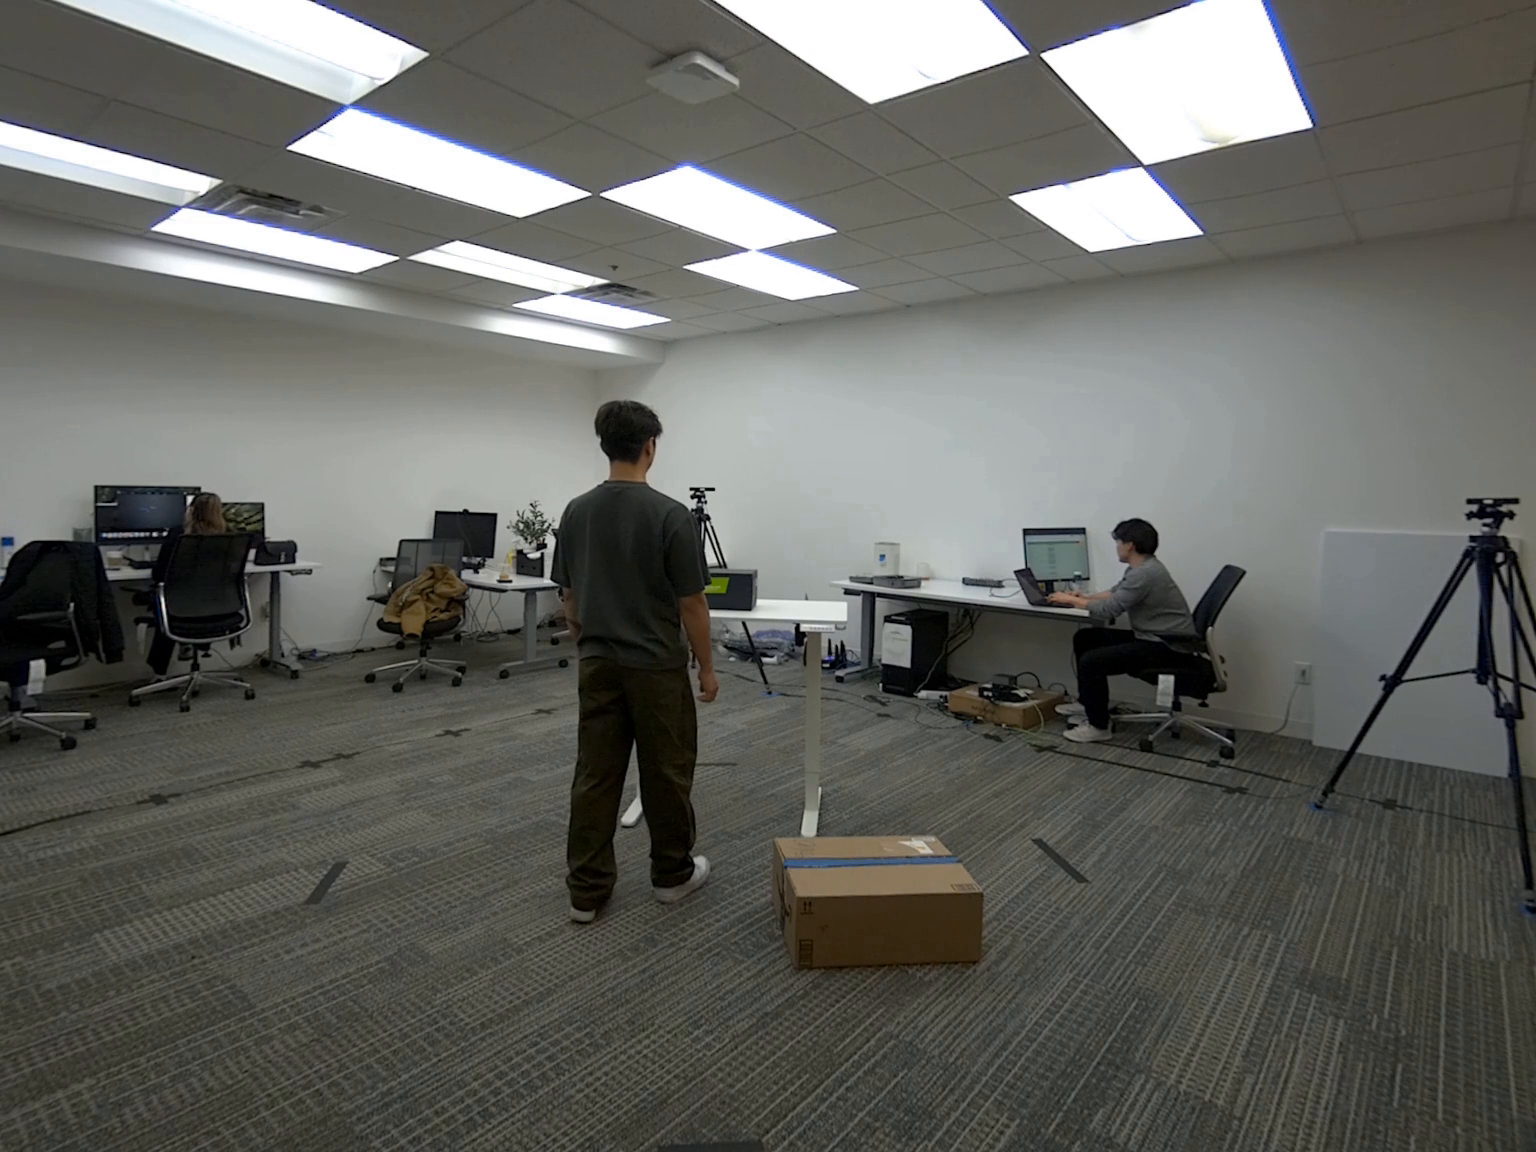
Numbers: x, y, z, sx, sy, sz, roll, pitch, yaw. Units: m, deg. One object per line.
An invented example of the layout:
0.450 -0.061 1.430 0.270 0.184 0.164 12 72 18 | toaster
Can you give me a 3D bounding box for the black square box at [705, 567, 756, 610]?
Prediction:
-0.181 0.049 3.664 0.230 0.155 0.215 0 4 8 | black square box
